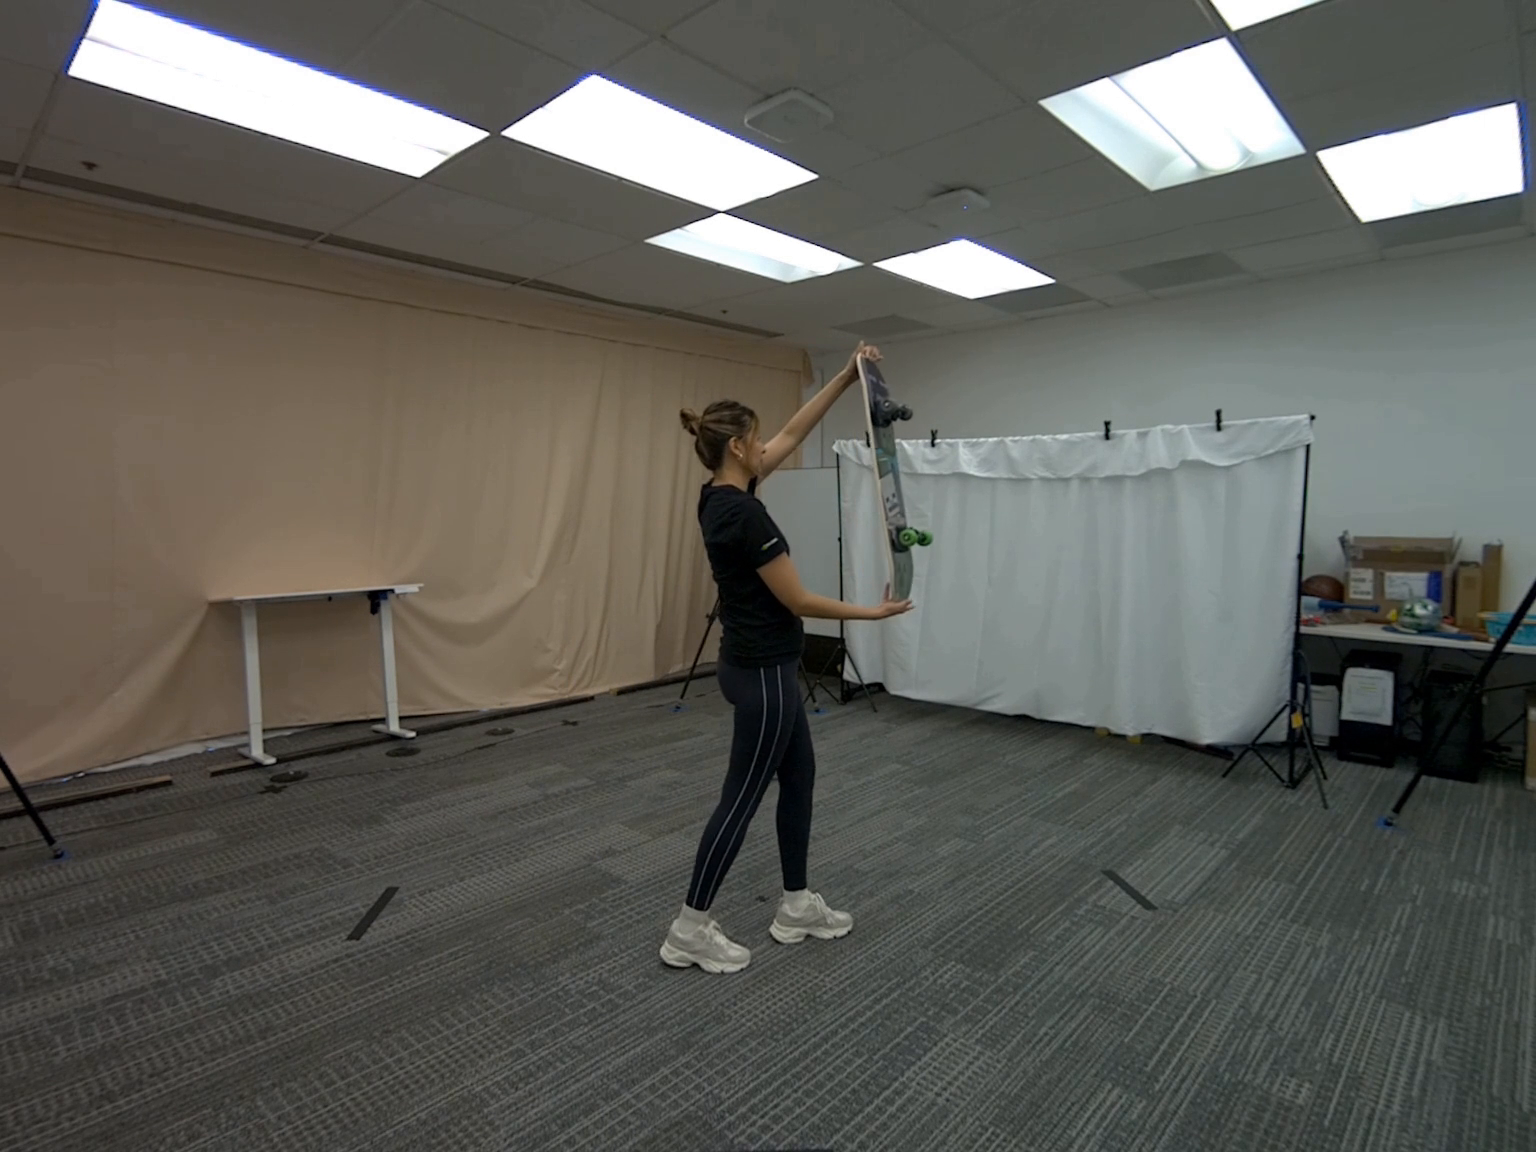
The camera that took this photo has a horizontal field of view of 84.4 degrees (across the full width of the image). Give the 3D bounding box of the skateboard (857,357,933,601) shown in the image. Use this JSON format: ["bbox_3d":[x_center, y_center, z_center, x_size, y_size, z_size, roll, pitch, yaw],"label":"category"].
[{"bbox_3d":[0.405,-0.308,2.565,0.113,0.787,0.188,-9,-3,31],"label":"skateboard"}]
